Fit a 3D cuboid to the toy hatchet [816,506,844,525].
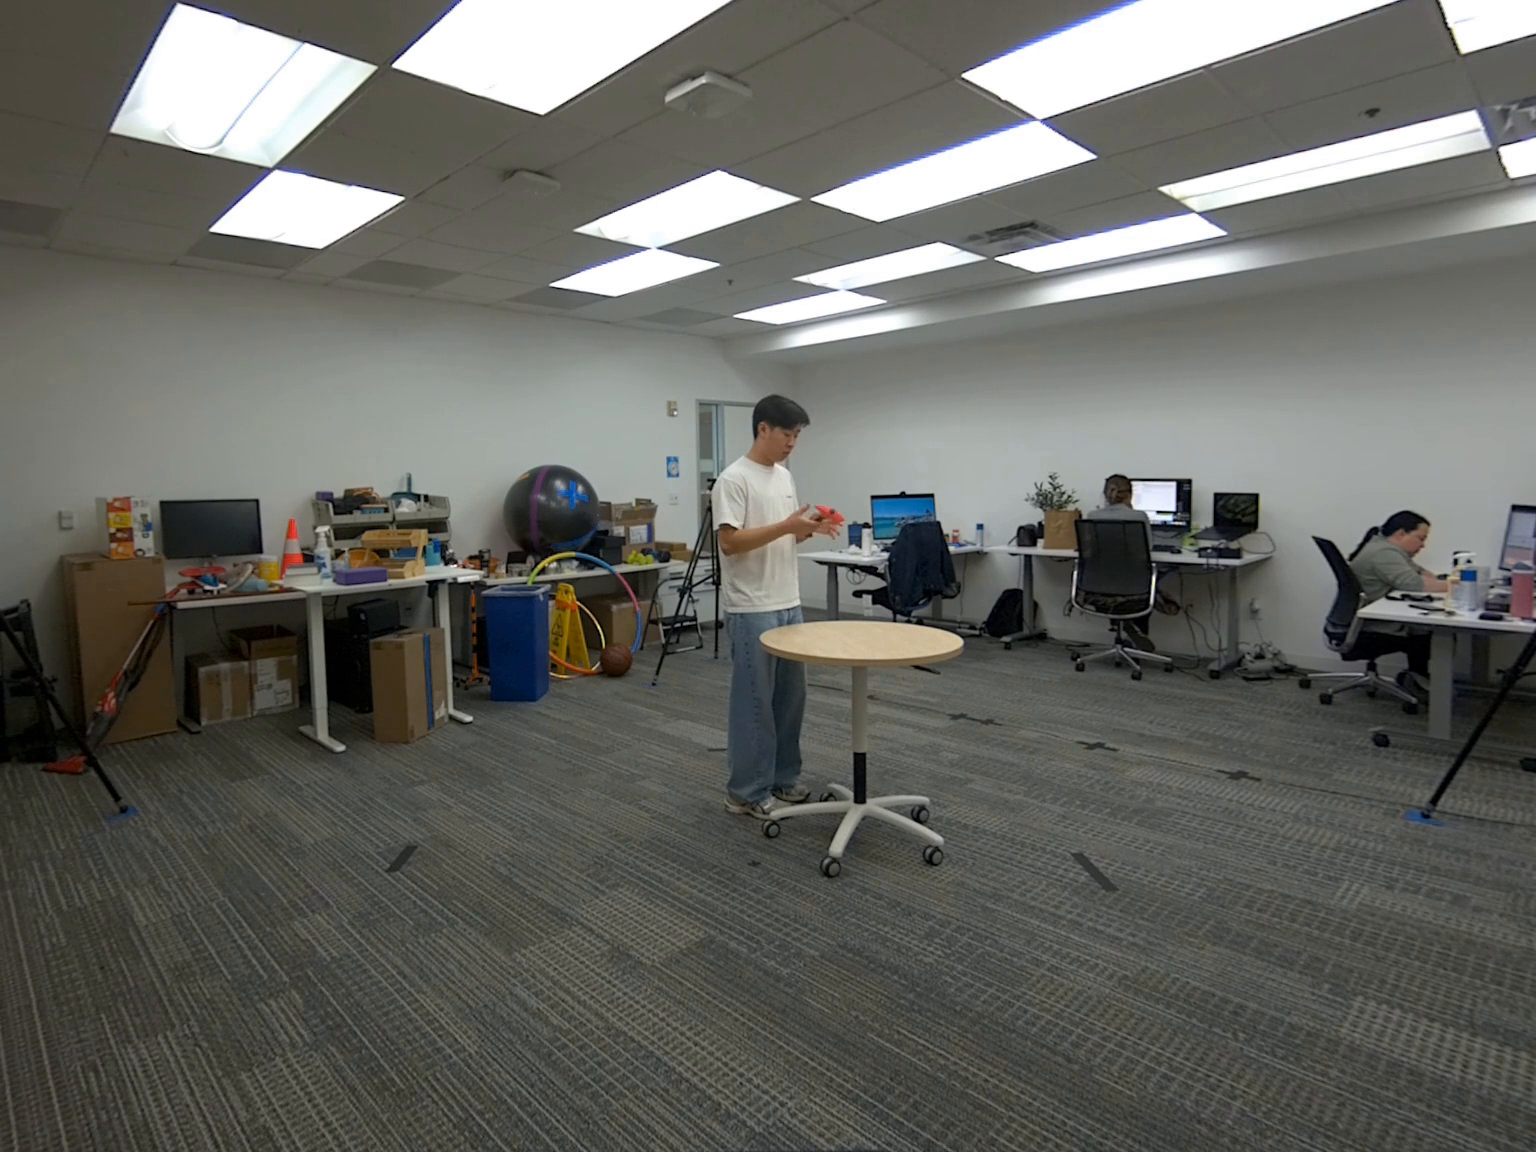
[{"bbox_3d":[0.225,-0.195,3.417,0.131,0.030,0.266,18,-23,0],"label":"toy hatchet"}]
